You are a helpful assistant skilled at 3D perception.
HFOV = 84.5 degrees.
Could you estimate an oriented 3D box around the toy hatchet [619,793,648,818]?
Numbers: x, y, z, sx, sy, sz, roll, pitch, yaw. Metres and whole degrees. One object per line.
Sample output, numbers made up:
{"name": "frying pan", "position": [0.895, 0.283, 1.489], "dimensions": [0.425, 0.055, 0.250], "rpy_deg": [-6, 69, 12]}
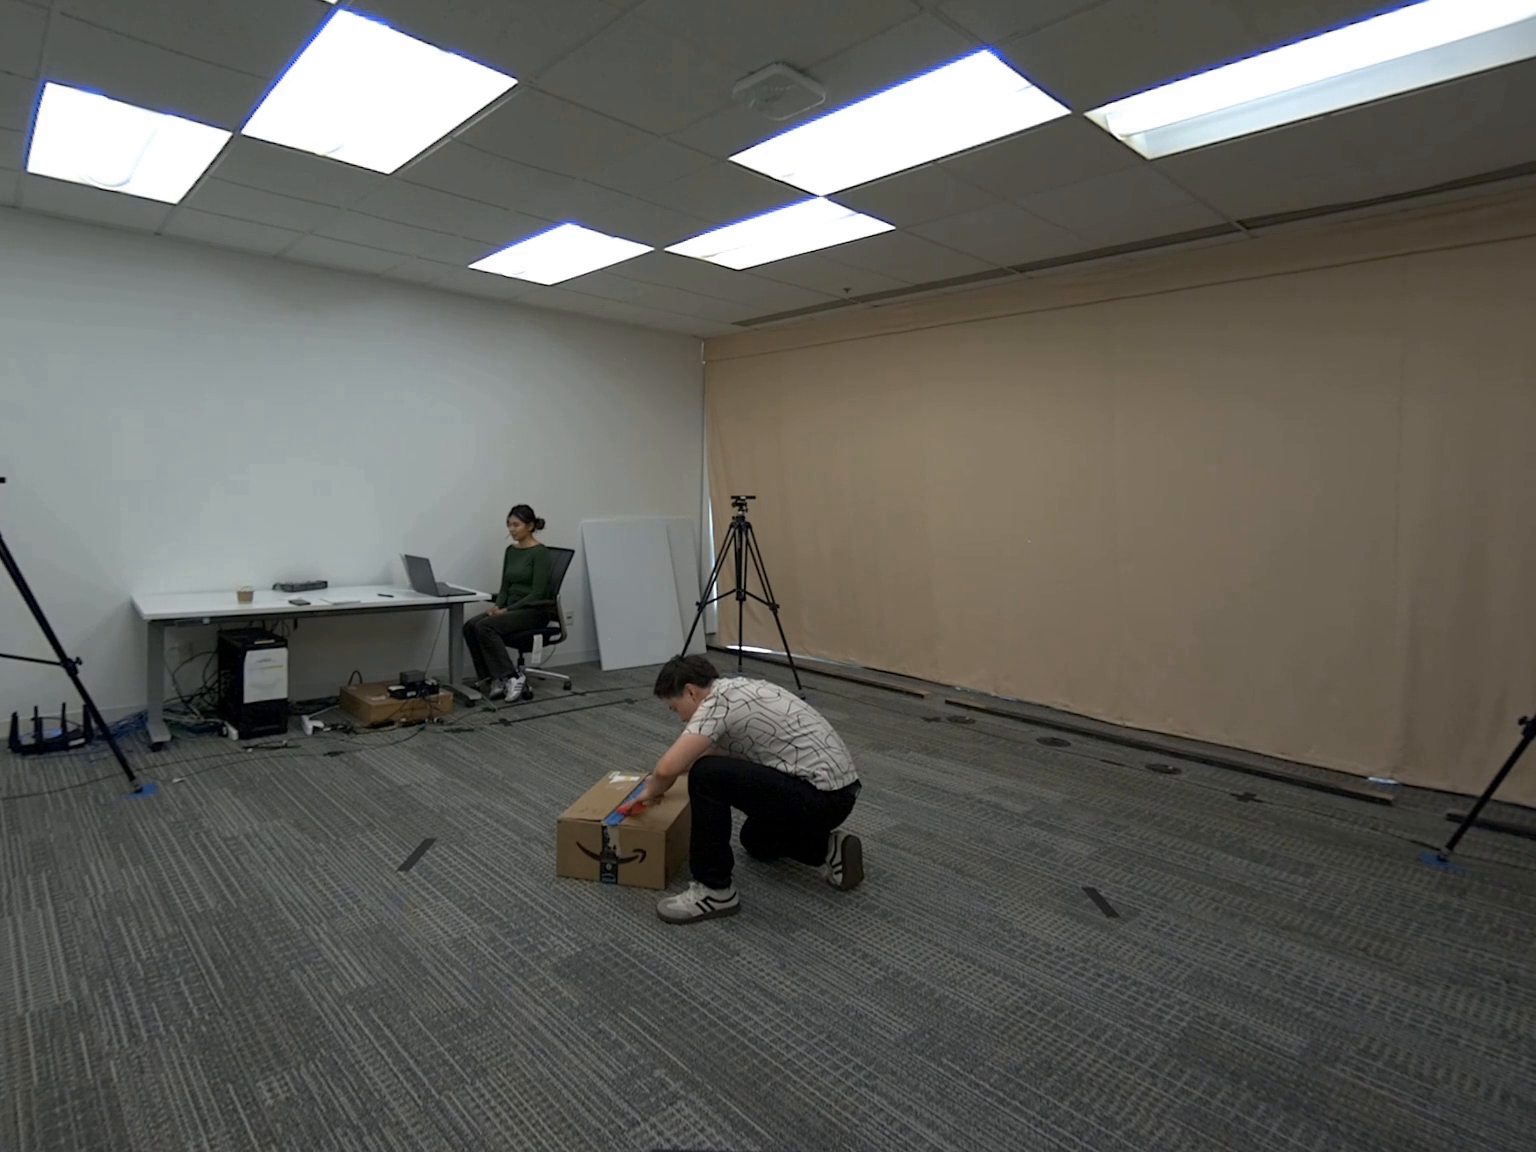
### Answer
{"name": "toy hatchet", "position": [-0.490, 0.849, 3.169], "dimensions": [0.131, 0.030, 0.268], "rpy_deg": [-13, -3, 6]}
